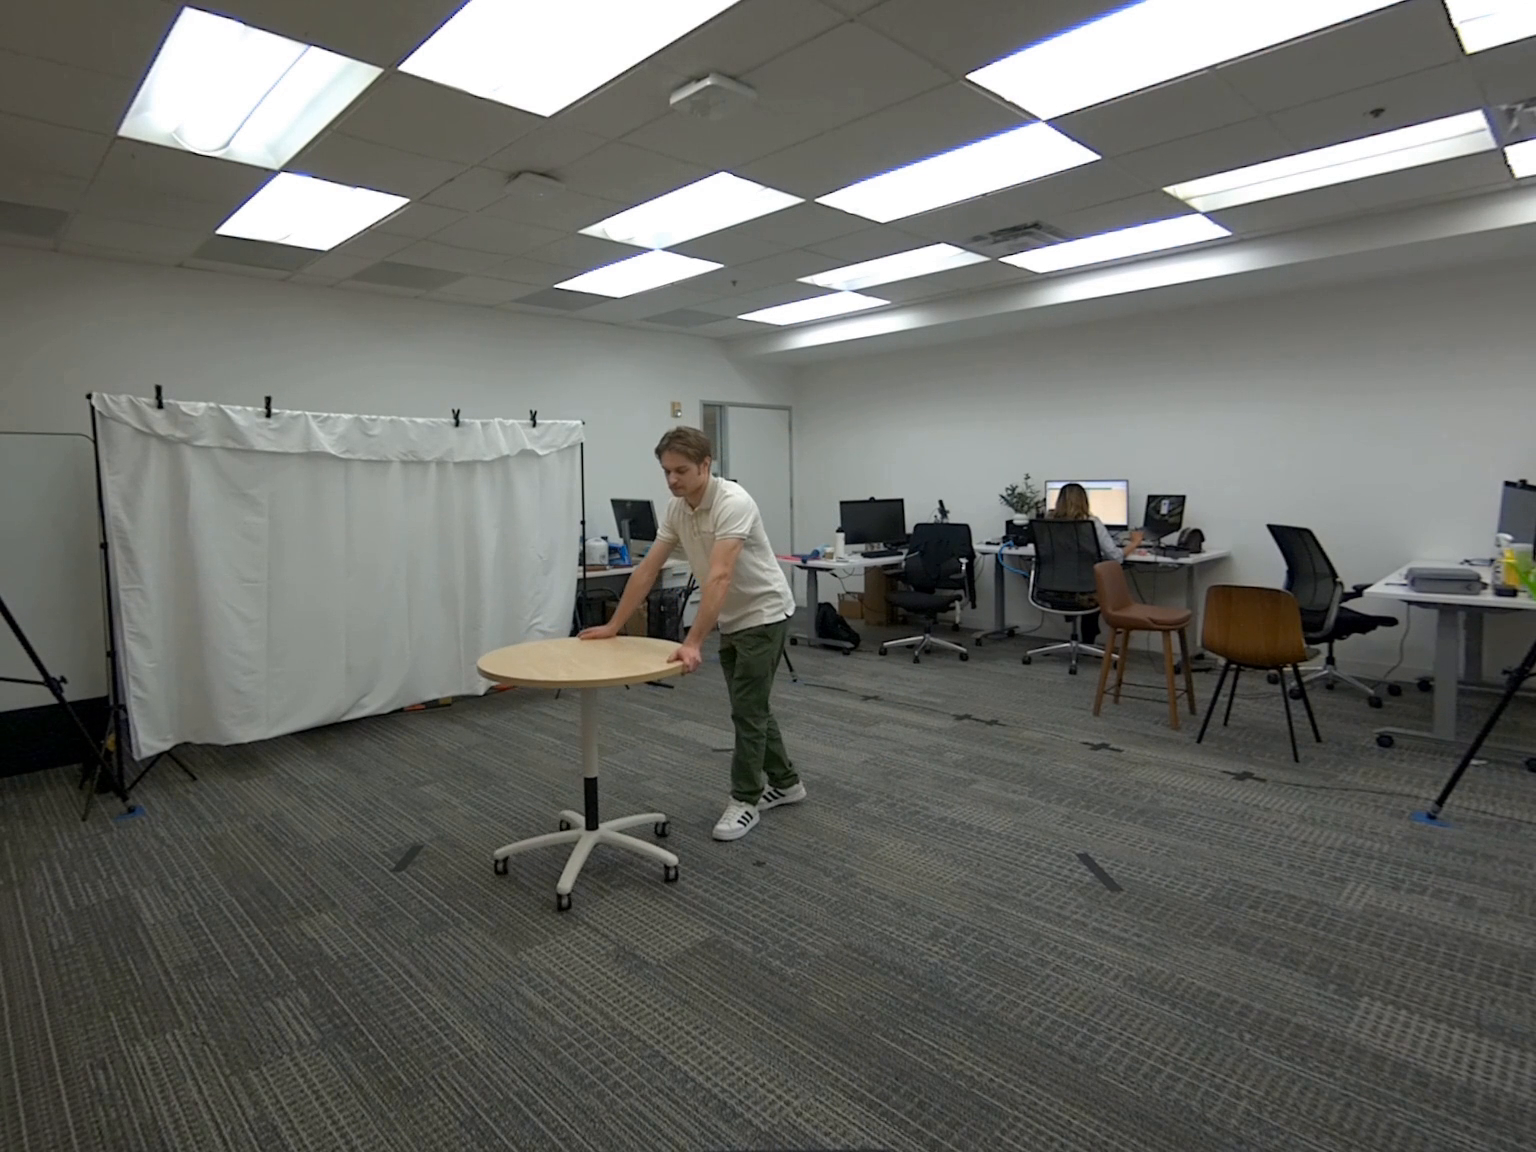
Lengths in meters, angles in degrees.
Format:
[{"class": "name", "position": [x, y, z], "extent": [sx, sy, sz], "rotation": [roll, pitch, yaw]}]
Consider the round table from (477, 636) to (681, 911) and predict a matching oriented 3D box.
[{"class": "round table", "position": [-0.645, 0.675, 3.096], "extent": [0.763, 0.791, 0.768], "rotation": [-1, 5, -2]}]
